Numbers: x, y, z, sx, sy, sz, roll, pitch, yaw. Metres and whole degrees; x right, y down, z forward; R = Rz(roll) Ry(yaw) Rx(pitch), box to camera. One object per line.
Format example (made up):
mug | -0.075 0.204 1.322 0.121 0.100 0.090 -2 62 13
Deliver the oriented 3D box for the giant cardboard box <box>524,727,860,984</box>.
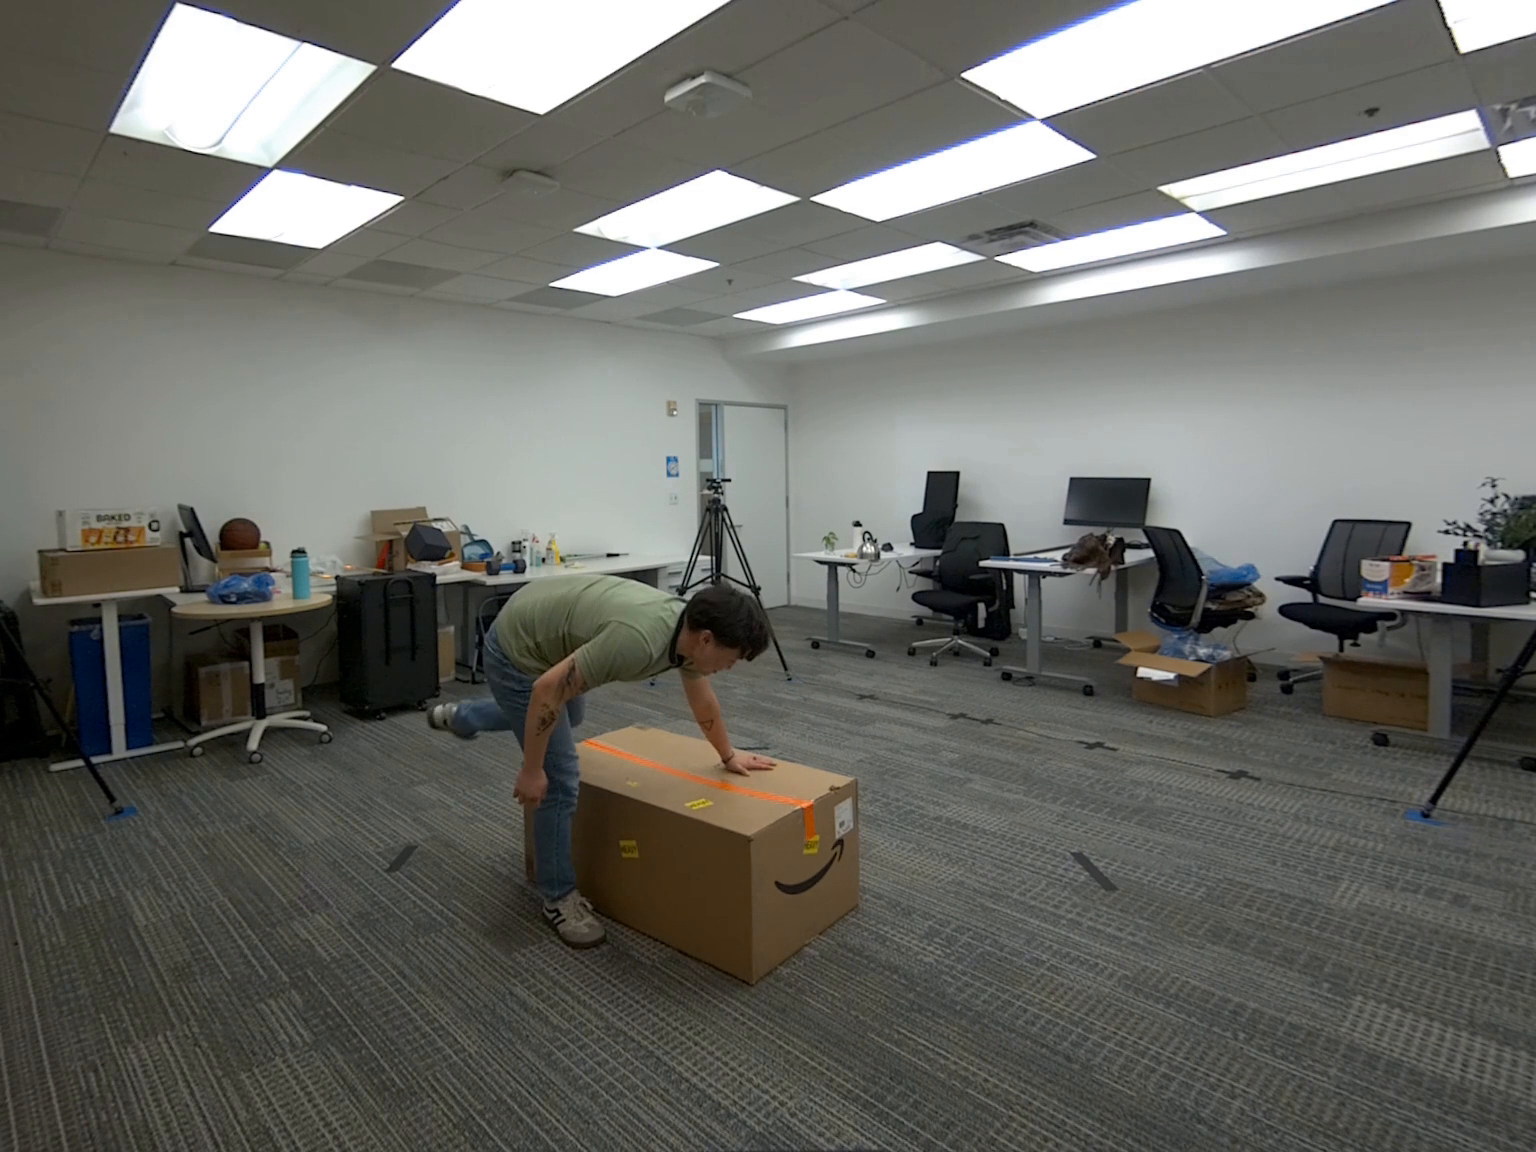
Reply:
giant cardboard box | -0.279 0.861 2.891 1.057 0.424 0.563 4 8 39
